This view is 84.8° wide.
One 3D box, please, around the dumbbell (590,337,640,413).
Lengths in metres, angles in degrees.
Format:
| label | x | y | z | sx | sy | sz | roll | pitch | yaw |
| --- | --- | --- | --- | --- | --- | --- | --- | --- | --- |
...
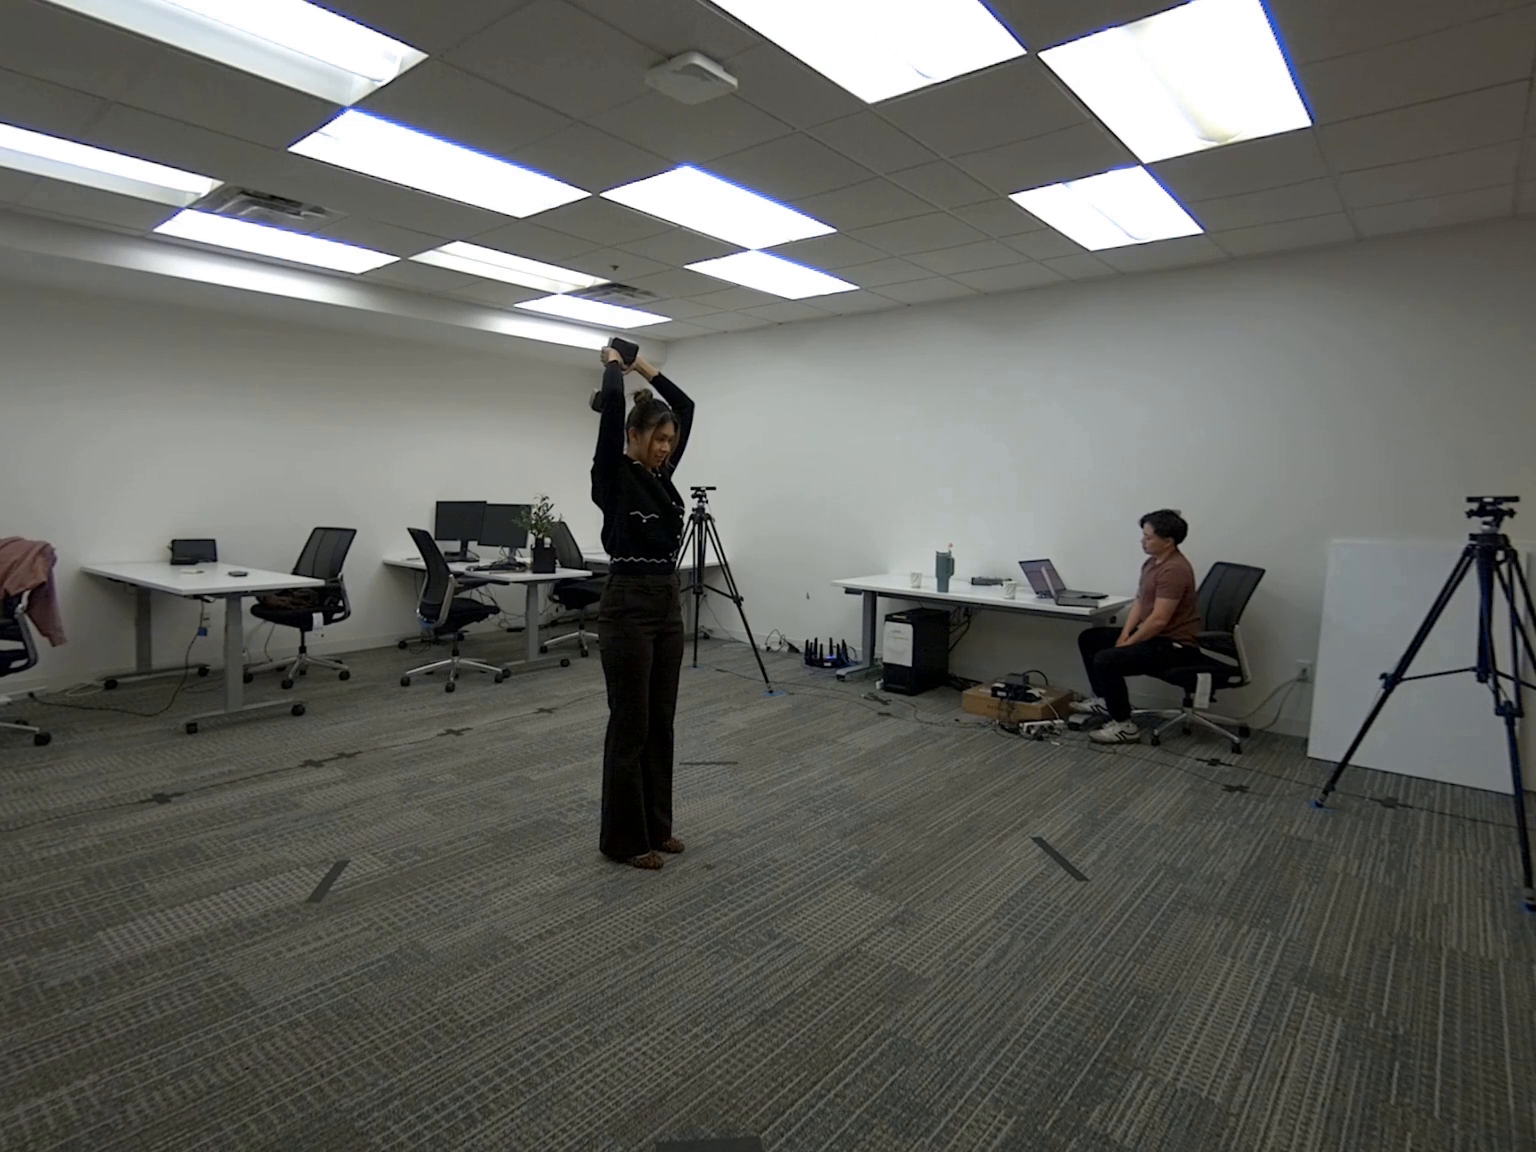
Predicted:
| label | x | y | z | sx | sy | sz | roll | pitch | yaw |
| --- | --- | --- | --- | --- | --- | --- | --- | --- | --- |
| dumbbell | -0.597 | -0.765 | 3.247 | 0.124 | 0.291 | 0.109 | 22 | 17 | 6 |
